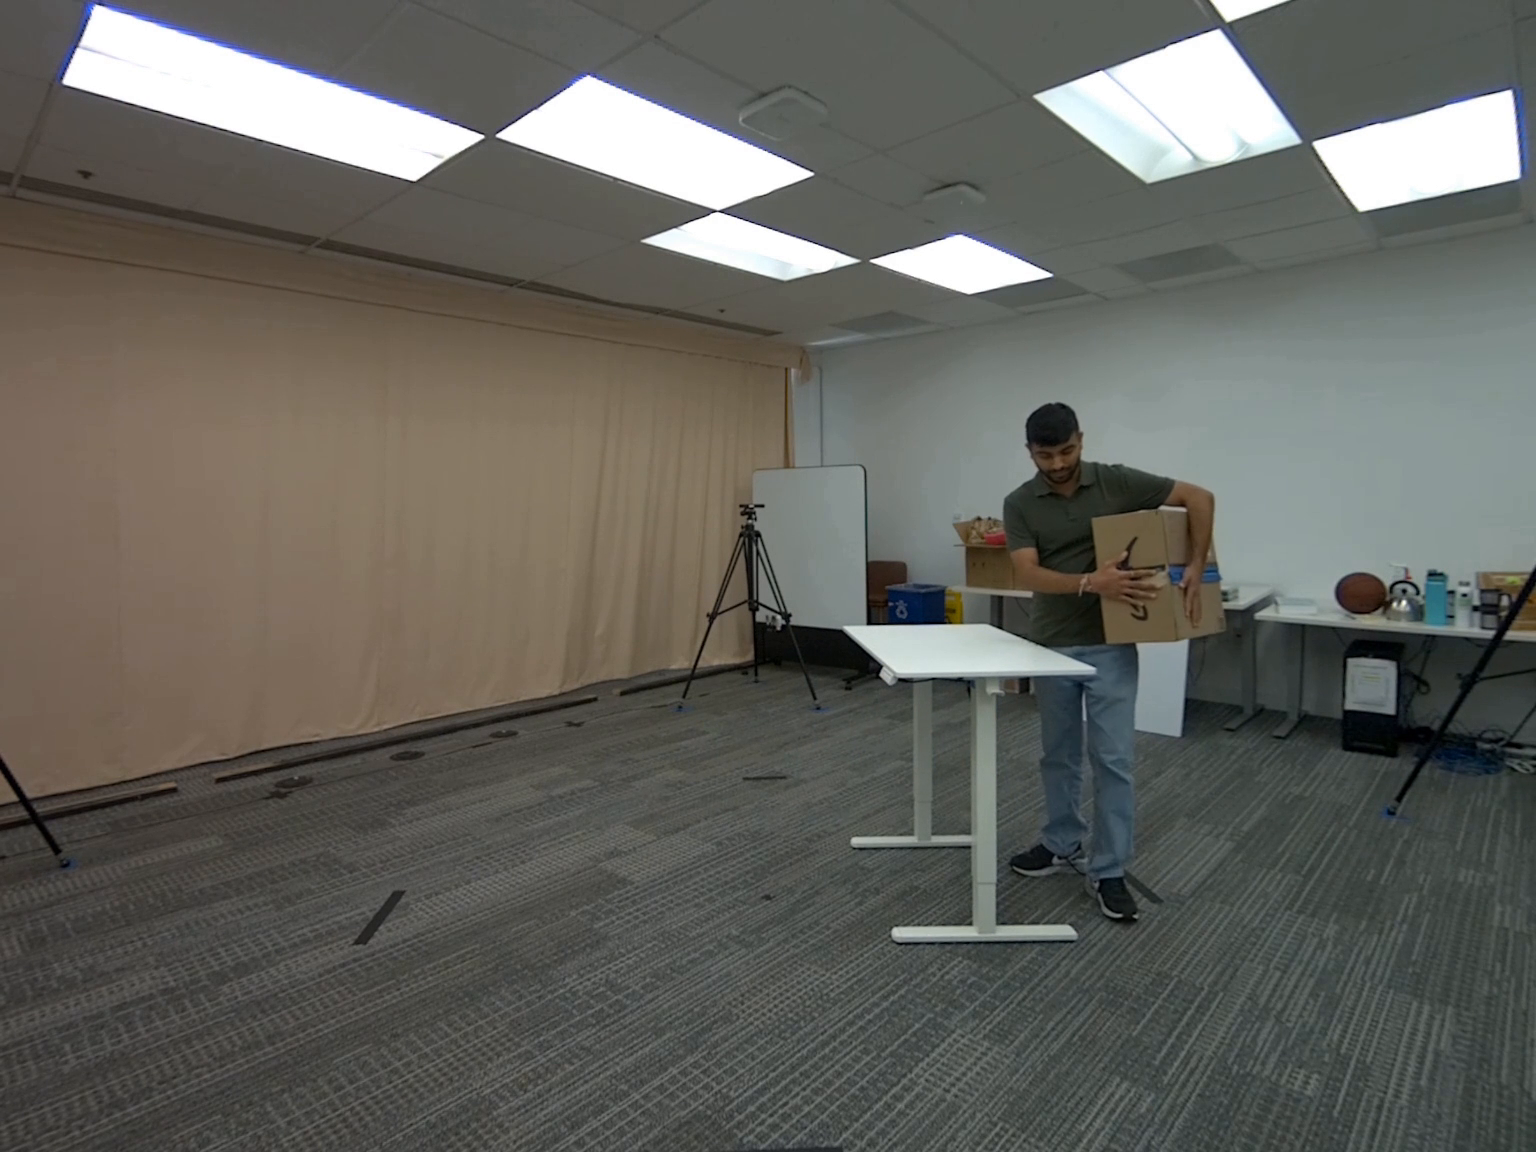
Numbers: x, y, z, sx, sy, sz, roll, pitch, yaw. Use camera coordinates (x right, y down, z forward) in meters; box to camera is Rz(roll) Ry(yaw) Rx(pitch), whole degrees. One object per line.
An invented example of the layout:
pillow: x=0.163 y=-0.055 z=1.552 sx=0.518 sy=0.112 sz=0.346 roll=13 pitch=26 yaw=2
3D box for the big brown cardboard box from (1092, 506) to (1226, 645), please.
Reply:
big brown cardboard box: x=1.356 y=0.003 z=2.875 sx=0.240 sy=0.419 sz=0.570 roll=-9 pitch=-5 yaw=44
